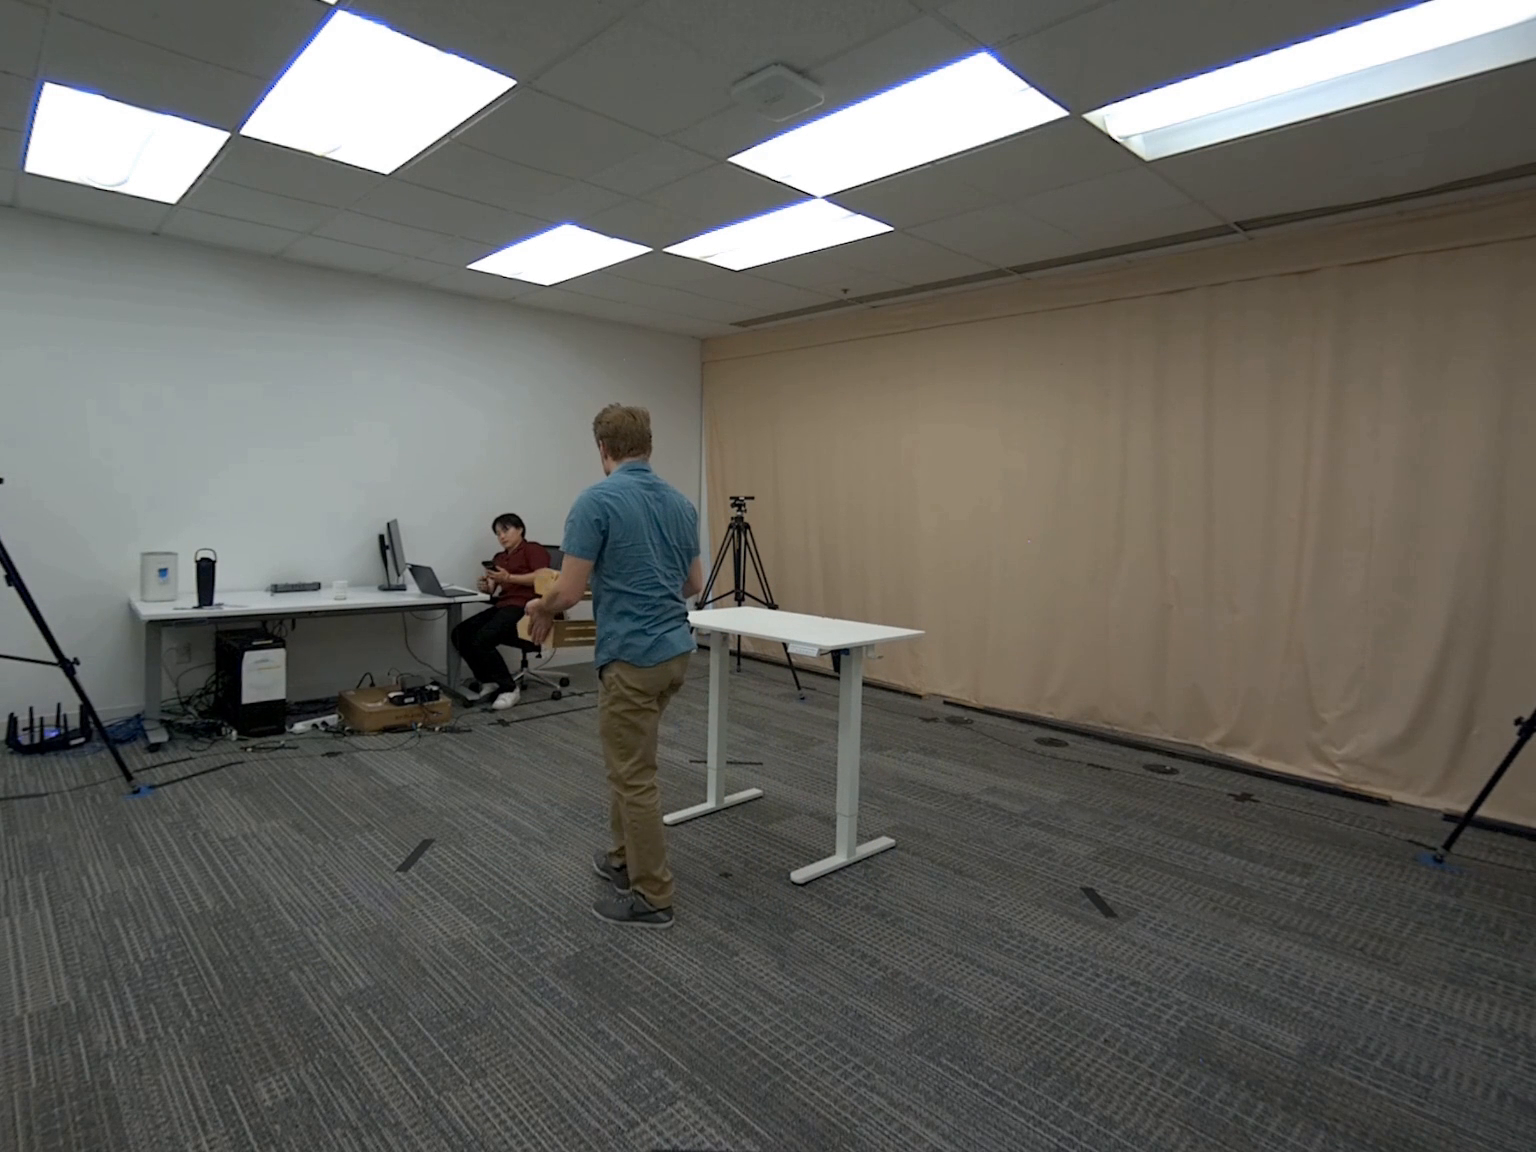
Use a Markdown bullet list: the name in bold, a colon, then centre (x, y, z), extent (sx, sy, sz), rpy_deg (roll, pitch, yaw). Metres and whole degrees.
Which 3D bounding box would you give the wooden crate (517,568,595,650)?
- **wooden crate**: centre (-0.685, 0.103, 3.009), extent (0.316, 0.272, 0.310), rpy_deg (1, 6, -44)
